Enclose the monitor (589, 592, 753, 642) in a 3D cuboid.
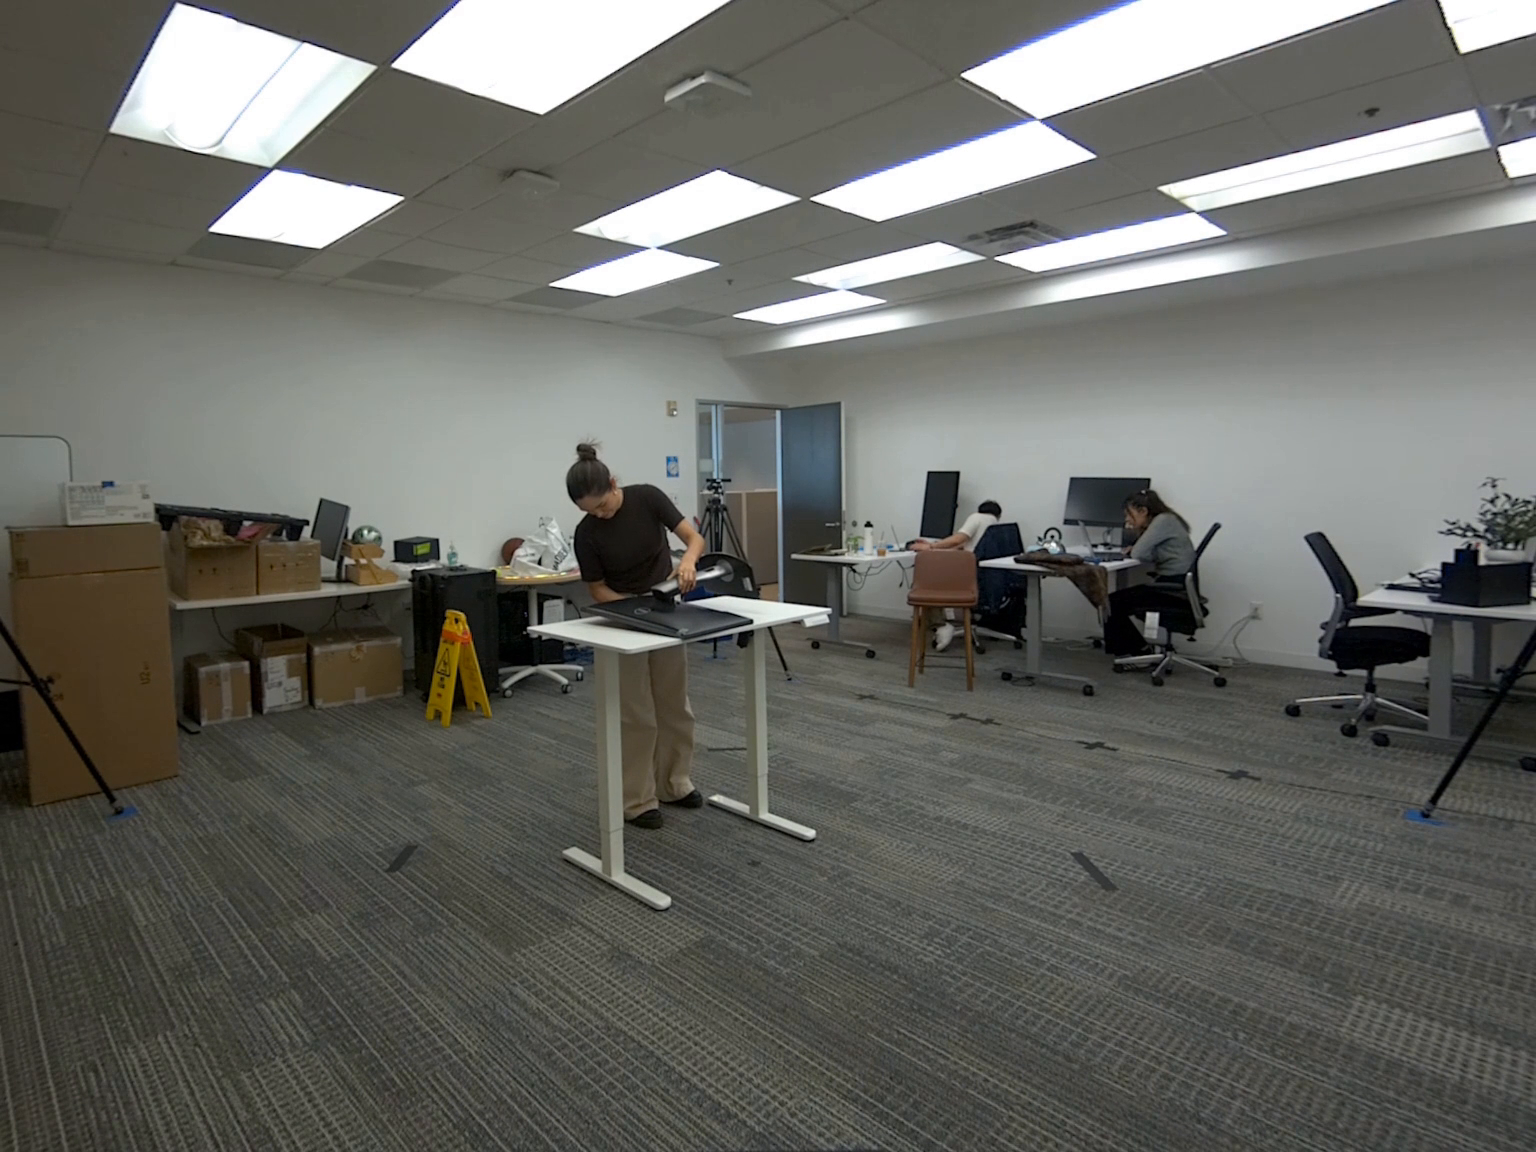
[{"bbox_3d":[-0.308,0.084,3.122,0.556,0.183,0.516,8,27,42],"label":"monitor"}]
